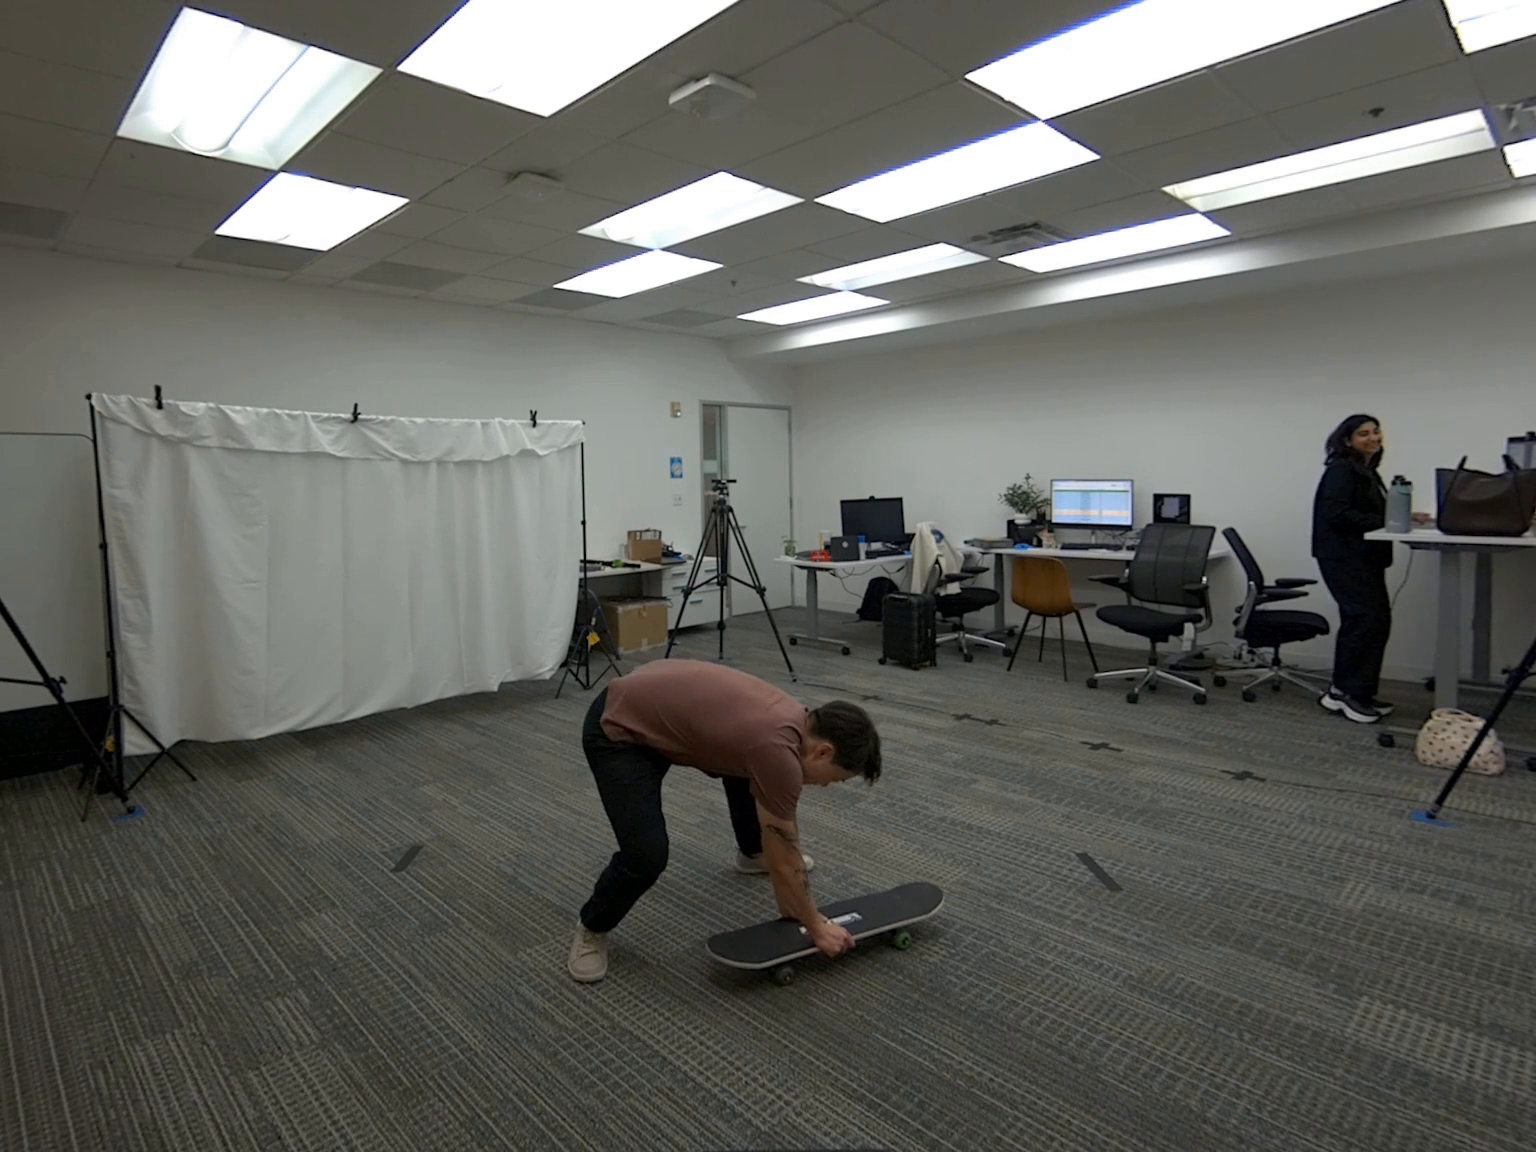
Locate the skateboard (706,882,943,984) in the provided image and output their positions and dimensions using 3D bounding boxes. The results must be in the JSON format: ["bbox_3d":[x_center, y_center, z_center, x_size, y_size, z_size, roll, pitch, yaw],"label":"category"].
[{"bbox_3d":[0.198,1.058,2.522,0.769,0.110,0.198,-5,6,-25],"label":"skateboard"}]
